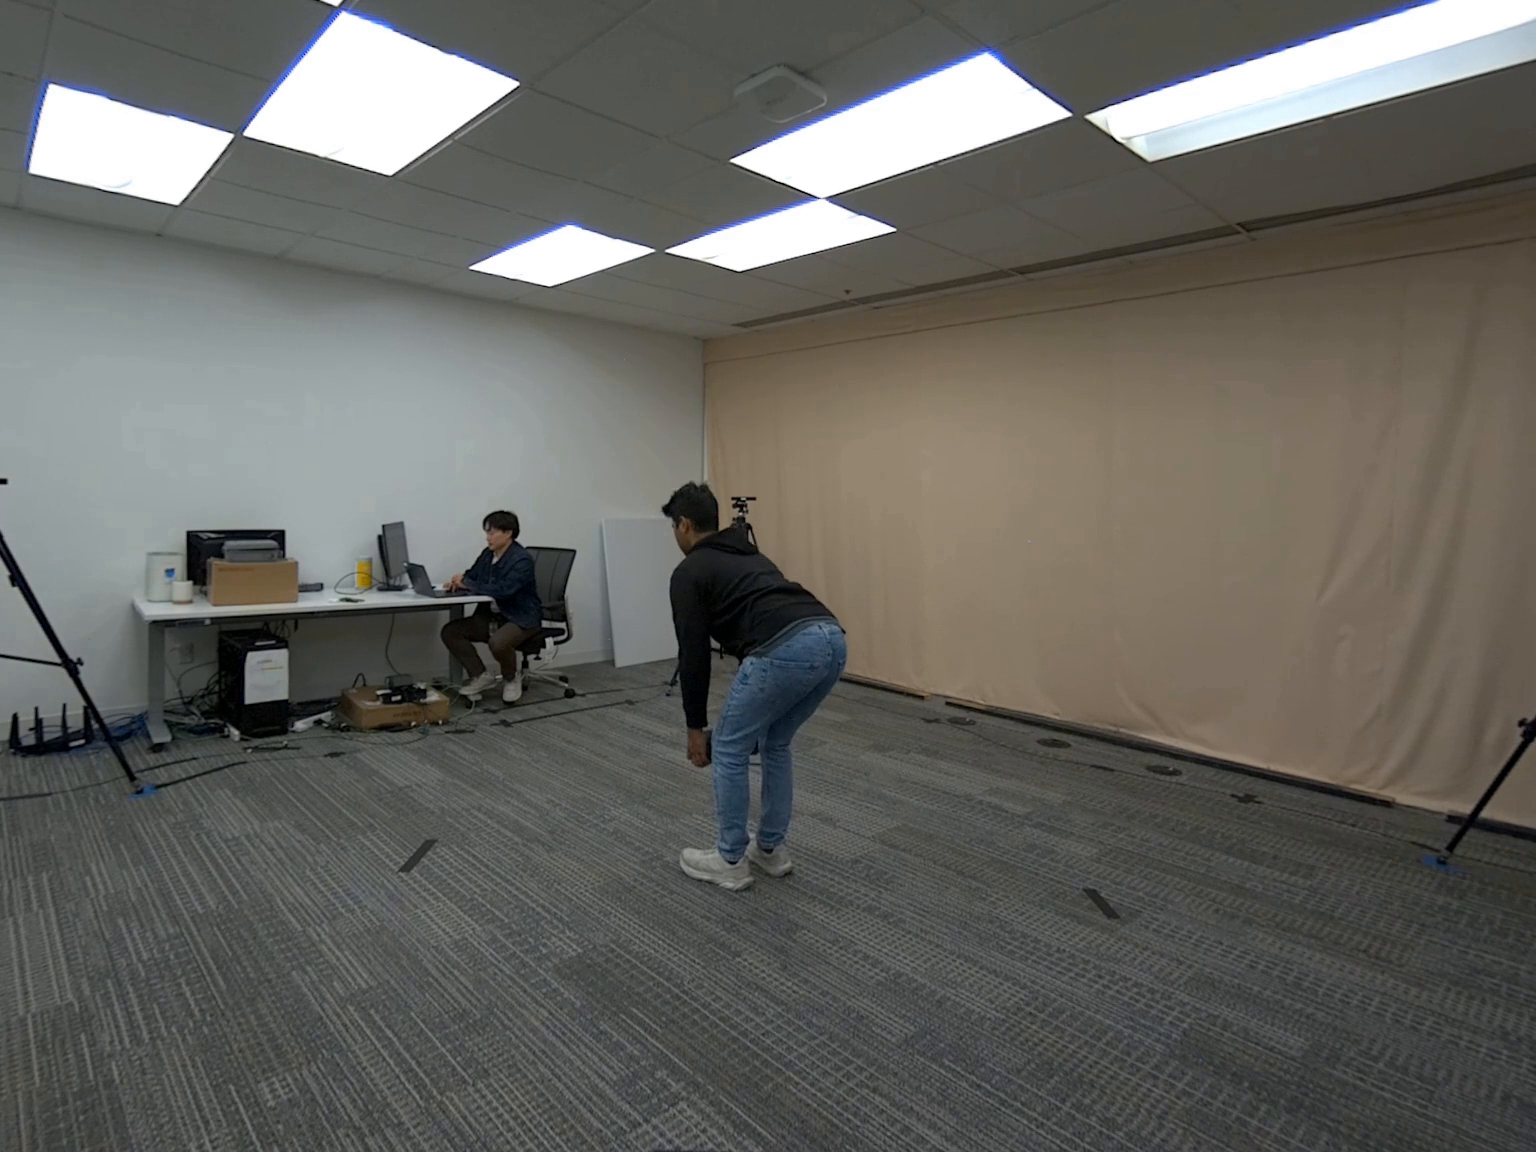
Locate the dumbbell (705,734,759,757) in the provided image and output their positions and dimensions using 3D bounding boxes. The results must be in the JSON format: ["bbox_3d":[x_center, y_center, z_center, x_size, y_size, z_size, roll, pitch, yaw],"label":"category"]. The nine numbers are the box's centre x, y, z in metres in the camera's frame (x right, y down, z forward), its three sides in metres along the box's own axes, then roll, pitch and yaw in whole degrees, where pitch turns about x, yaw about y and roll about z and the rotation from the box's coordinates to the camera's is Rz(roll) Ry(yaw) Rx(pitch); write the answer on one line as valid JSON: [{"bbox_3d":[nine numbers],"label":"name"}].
[{"bbox_3d":[-0.149,0.641,3.195,0.286,0.108,0.127,0,33,-41],"label":"dumbbell"}]
